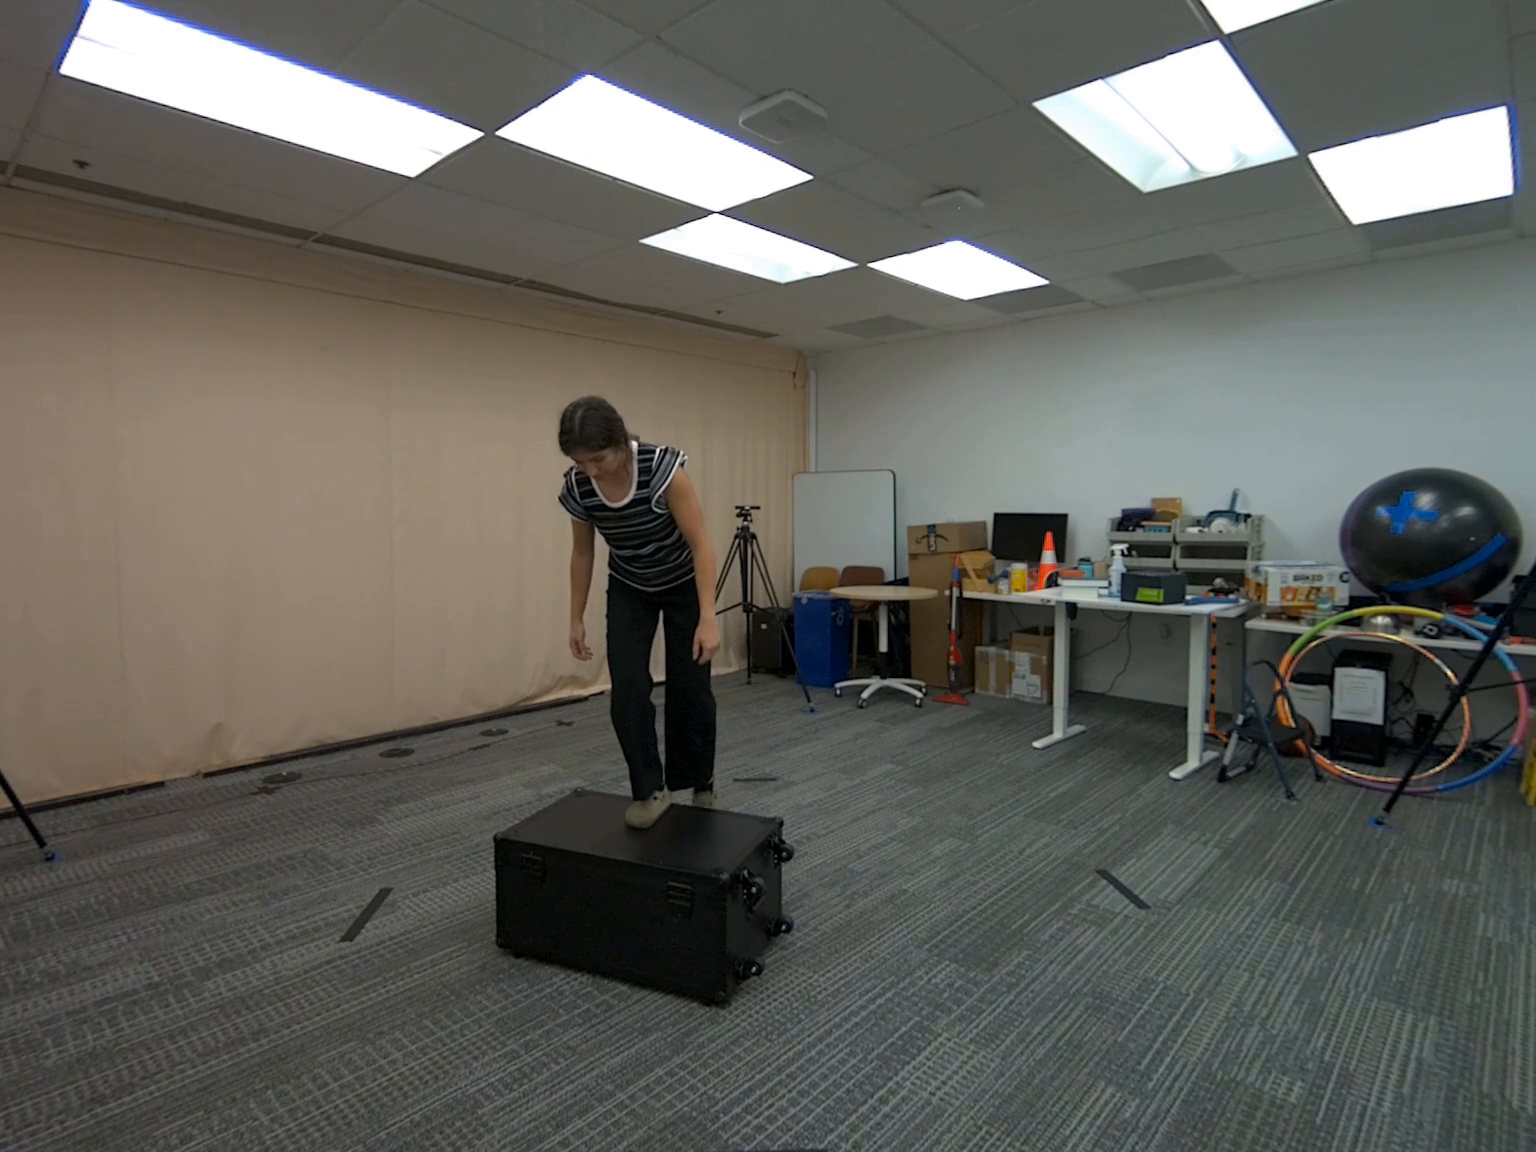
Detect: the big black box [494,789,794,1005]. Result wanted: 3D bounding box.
[{"bbox_3d":[-0.368,0.985,2.660,0.881,0.395,0.510,1,3,22],"label":"big black box"}]
